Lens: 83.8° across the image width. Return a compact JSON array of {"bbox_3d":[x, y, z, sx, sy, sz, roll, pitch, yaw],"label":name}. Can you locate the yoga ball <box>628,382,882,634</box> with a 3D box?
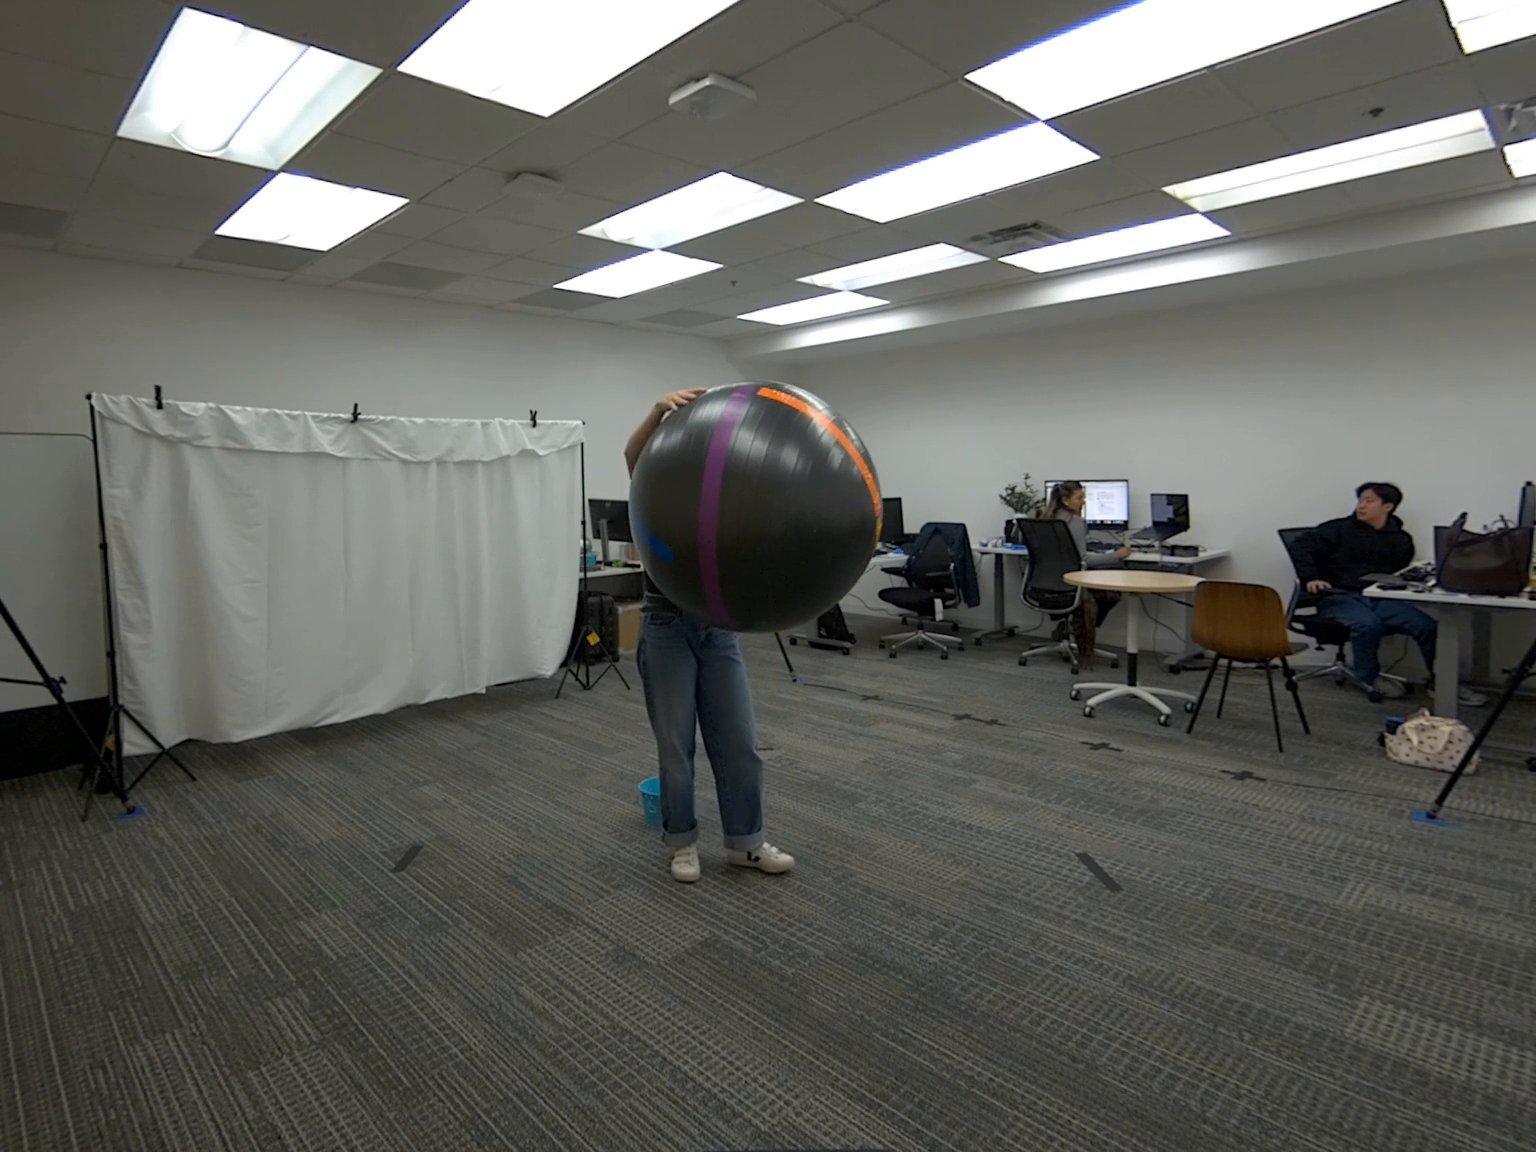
[{"bbox_3d":[-0.041,-0.203,2.585,0.757,0.755,0.762,-1,5,-2],"label":"yoga ball"}]
